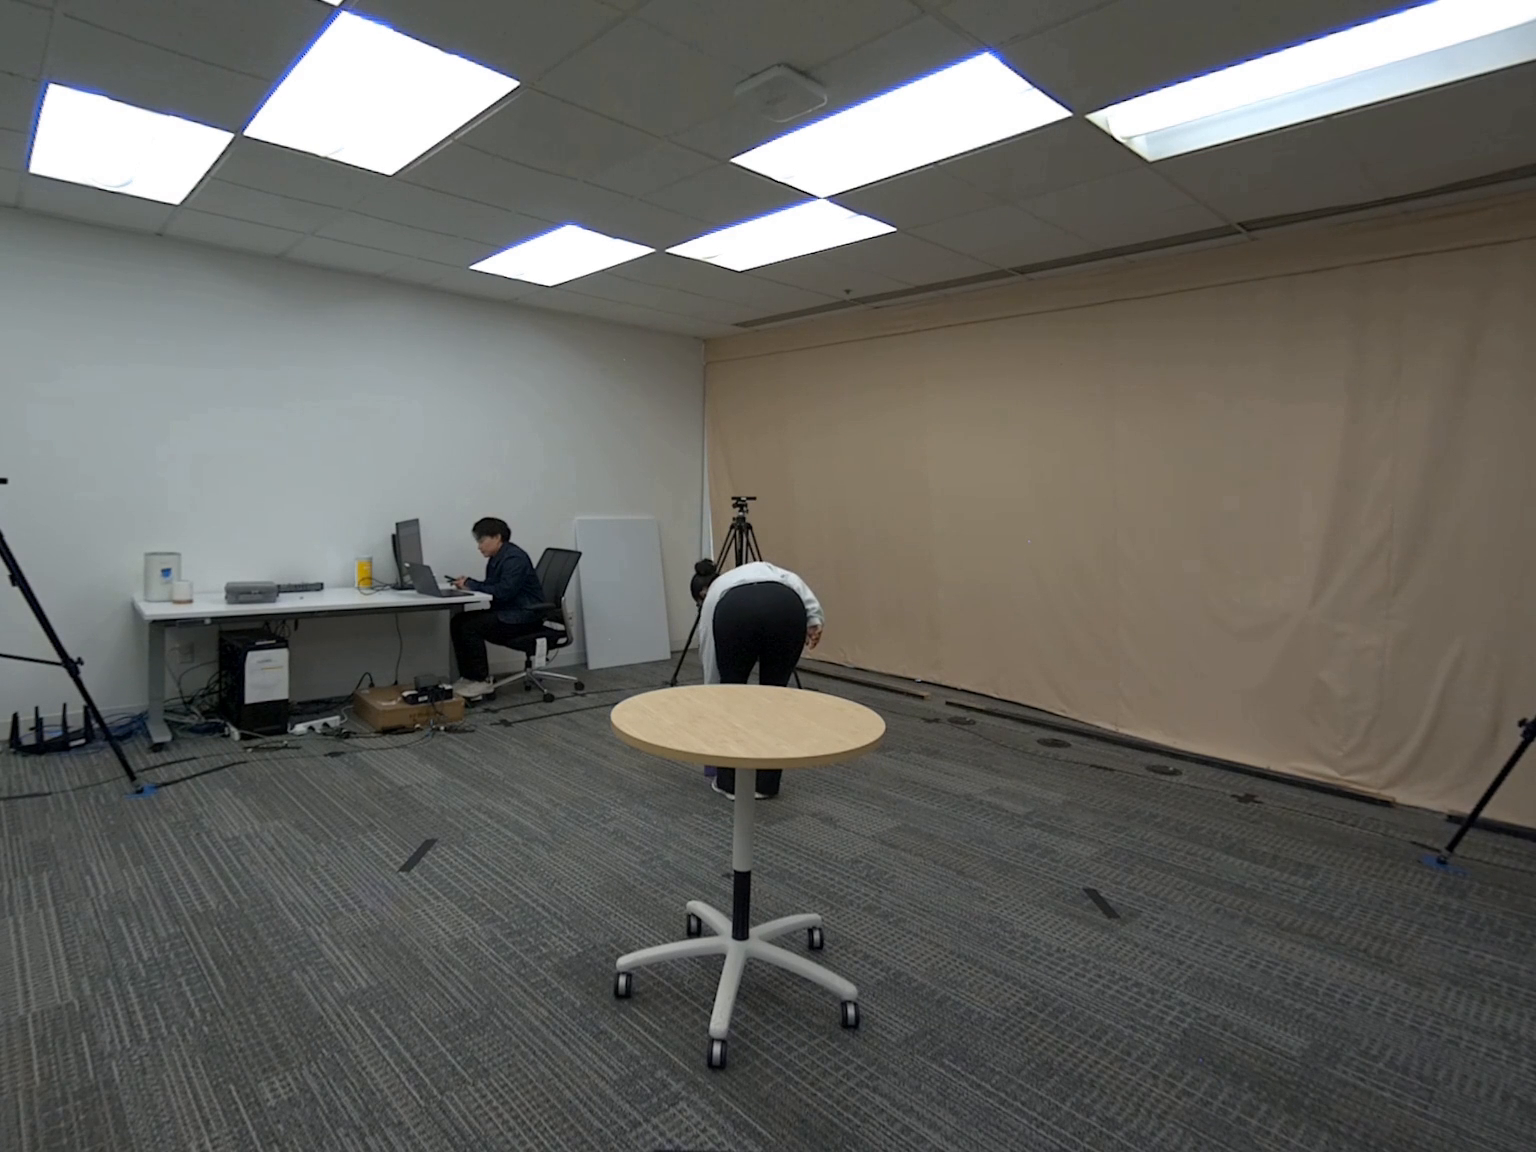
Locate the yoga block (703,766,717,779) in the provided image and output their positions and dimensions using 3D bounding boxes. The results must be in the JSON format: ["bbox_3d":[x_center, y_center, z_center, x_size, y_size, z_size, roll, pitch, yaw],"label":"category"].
[{"bbox_3d":[-0.216,0.925,4.259,0.228,0.149,0.077,0,3,-4],"label":"yoga block"}]
